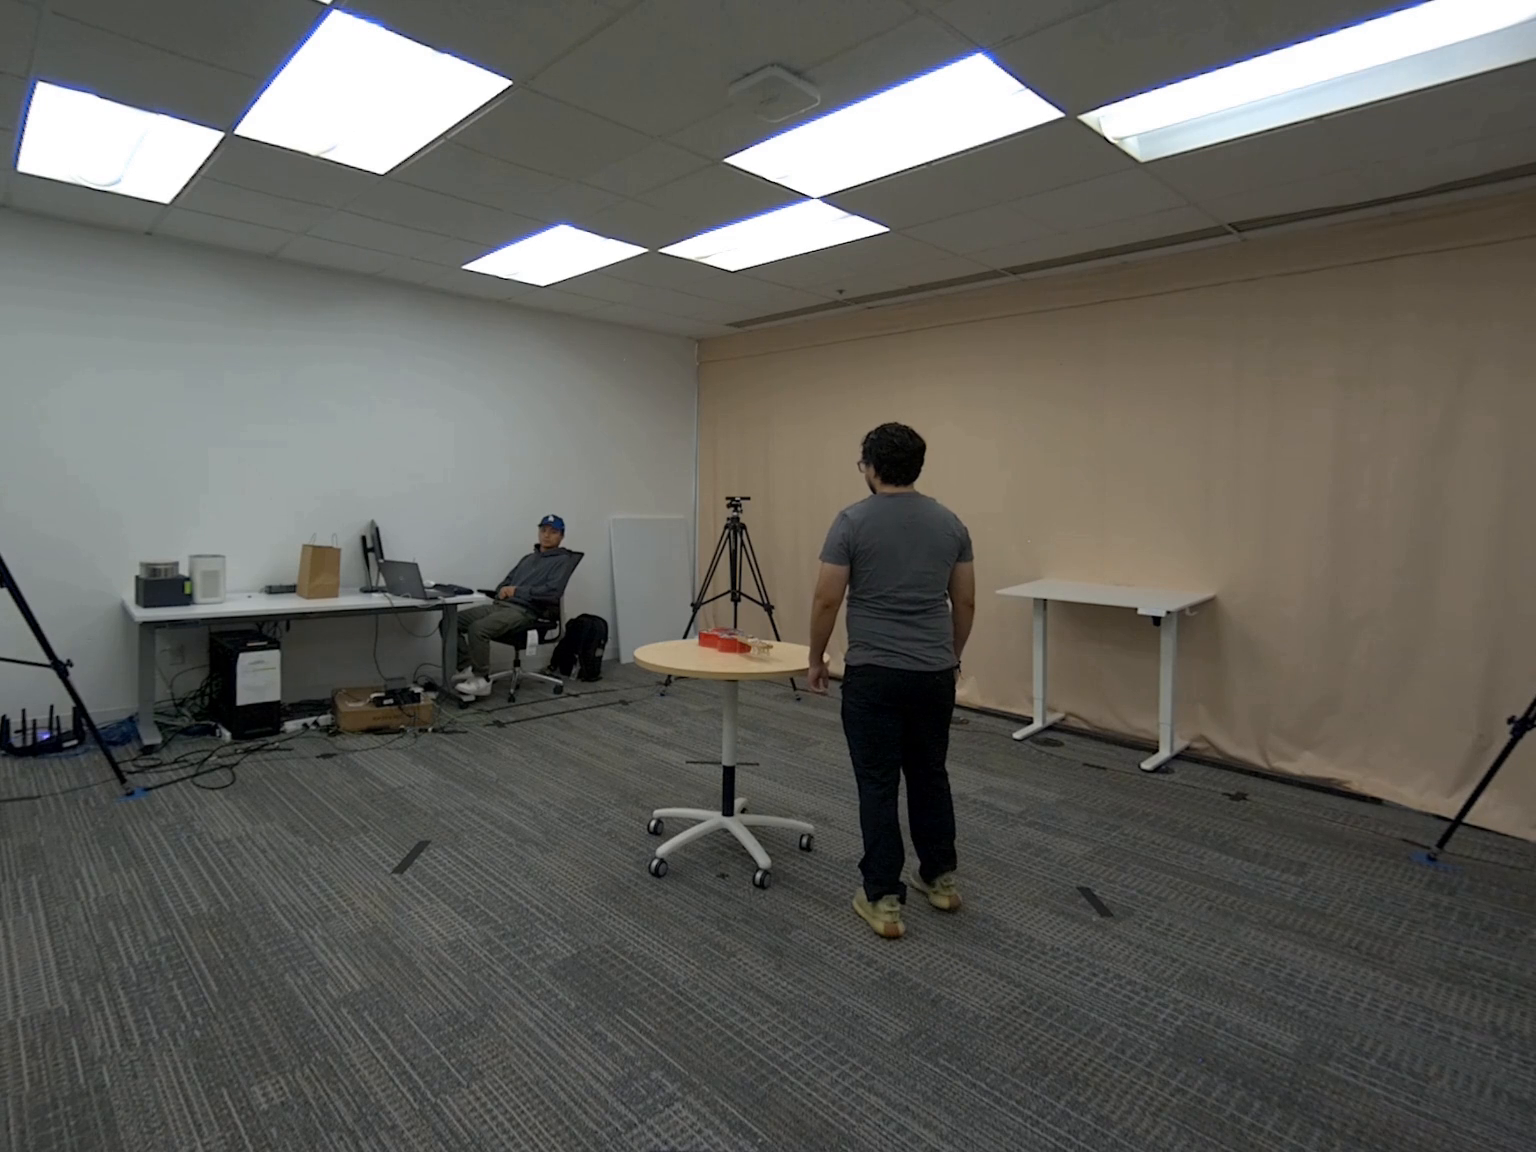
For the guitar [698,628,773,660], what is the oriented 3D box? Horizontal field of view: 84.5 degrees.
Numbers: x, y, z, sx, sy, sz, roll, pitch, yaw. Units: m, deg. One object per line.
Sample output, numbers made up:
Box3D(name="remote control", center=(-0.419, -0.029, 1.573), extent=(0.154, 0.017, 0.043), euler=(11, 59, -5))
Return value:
Box3D(name="guitar", center=(-0.147, 0.269, 3.338), extent=(0.191, 0.070, 0.505), euler=(1, 4, -16))
